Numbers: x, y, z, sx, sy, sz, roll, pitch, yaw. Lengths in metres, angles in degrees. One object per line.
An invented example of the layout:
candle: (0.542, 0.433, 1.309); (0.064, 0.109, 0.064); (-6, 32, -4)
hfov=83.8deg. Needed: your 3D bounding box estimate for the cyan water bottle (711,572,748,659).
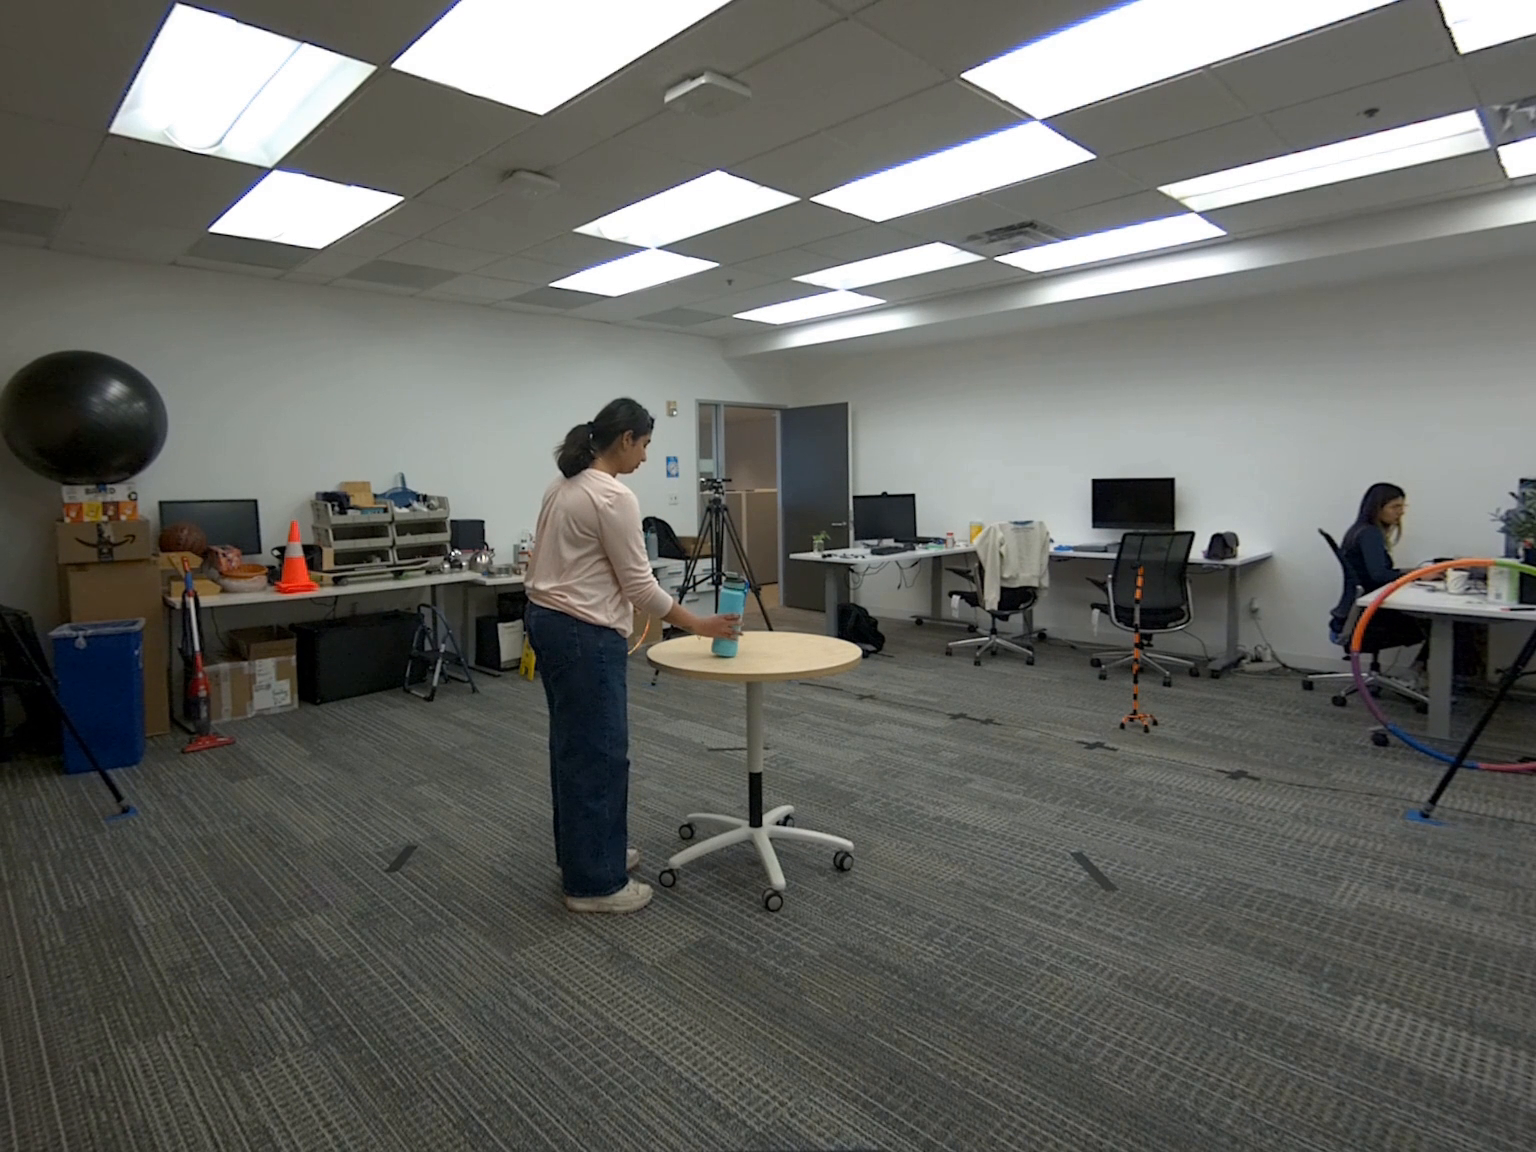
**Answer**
cyan water bottle: (-0.134, 0.132, 2.954); (0.092, 0.283, 0.093); (8, 3, -2)
